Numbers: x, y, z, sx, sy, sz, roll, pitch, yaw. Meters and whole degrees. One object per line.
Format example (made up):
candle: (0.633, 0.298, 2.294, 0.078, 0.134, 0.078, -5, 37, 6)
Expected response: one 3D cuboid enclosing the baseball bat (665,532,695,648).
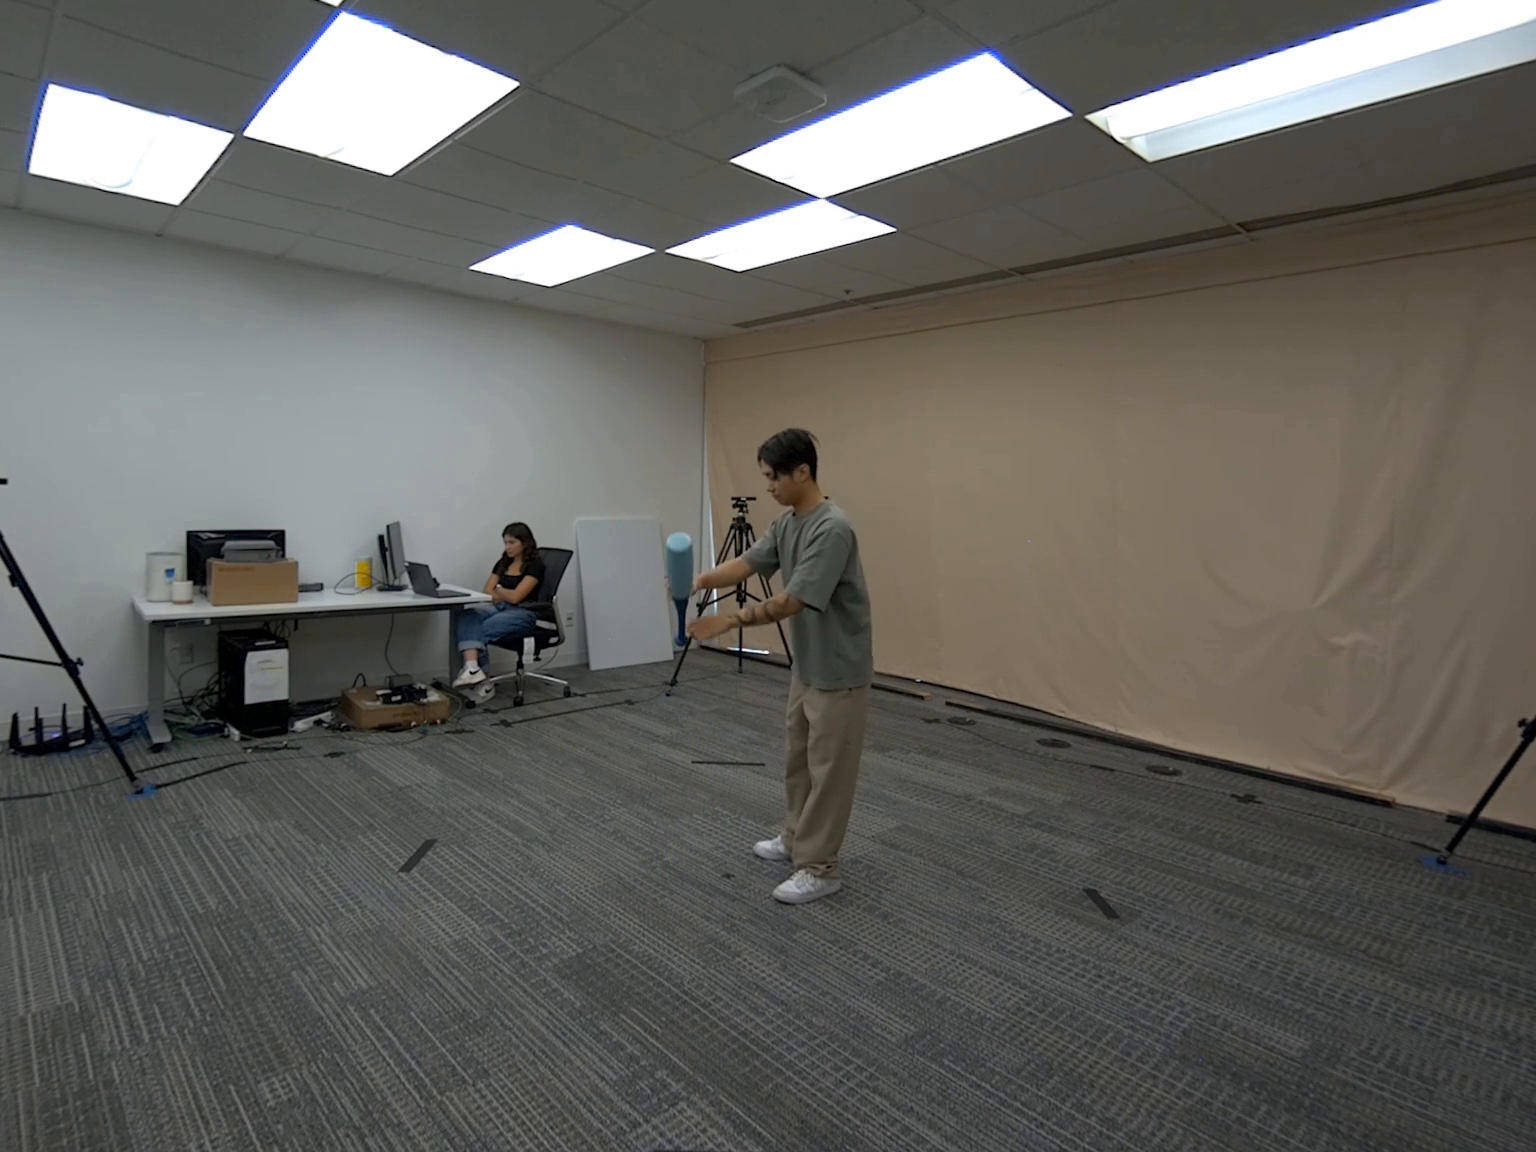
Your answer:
baseball bat: (-0.294, 0.073, 2.862, 0.089, 0.532, 0.091, 2, 47, -3)
